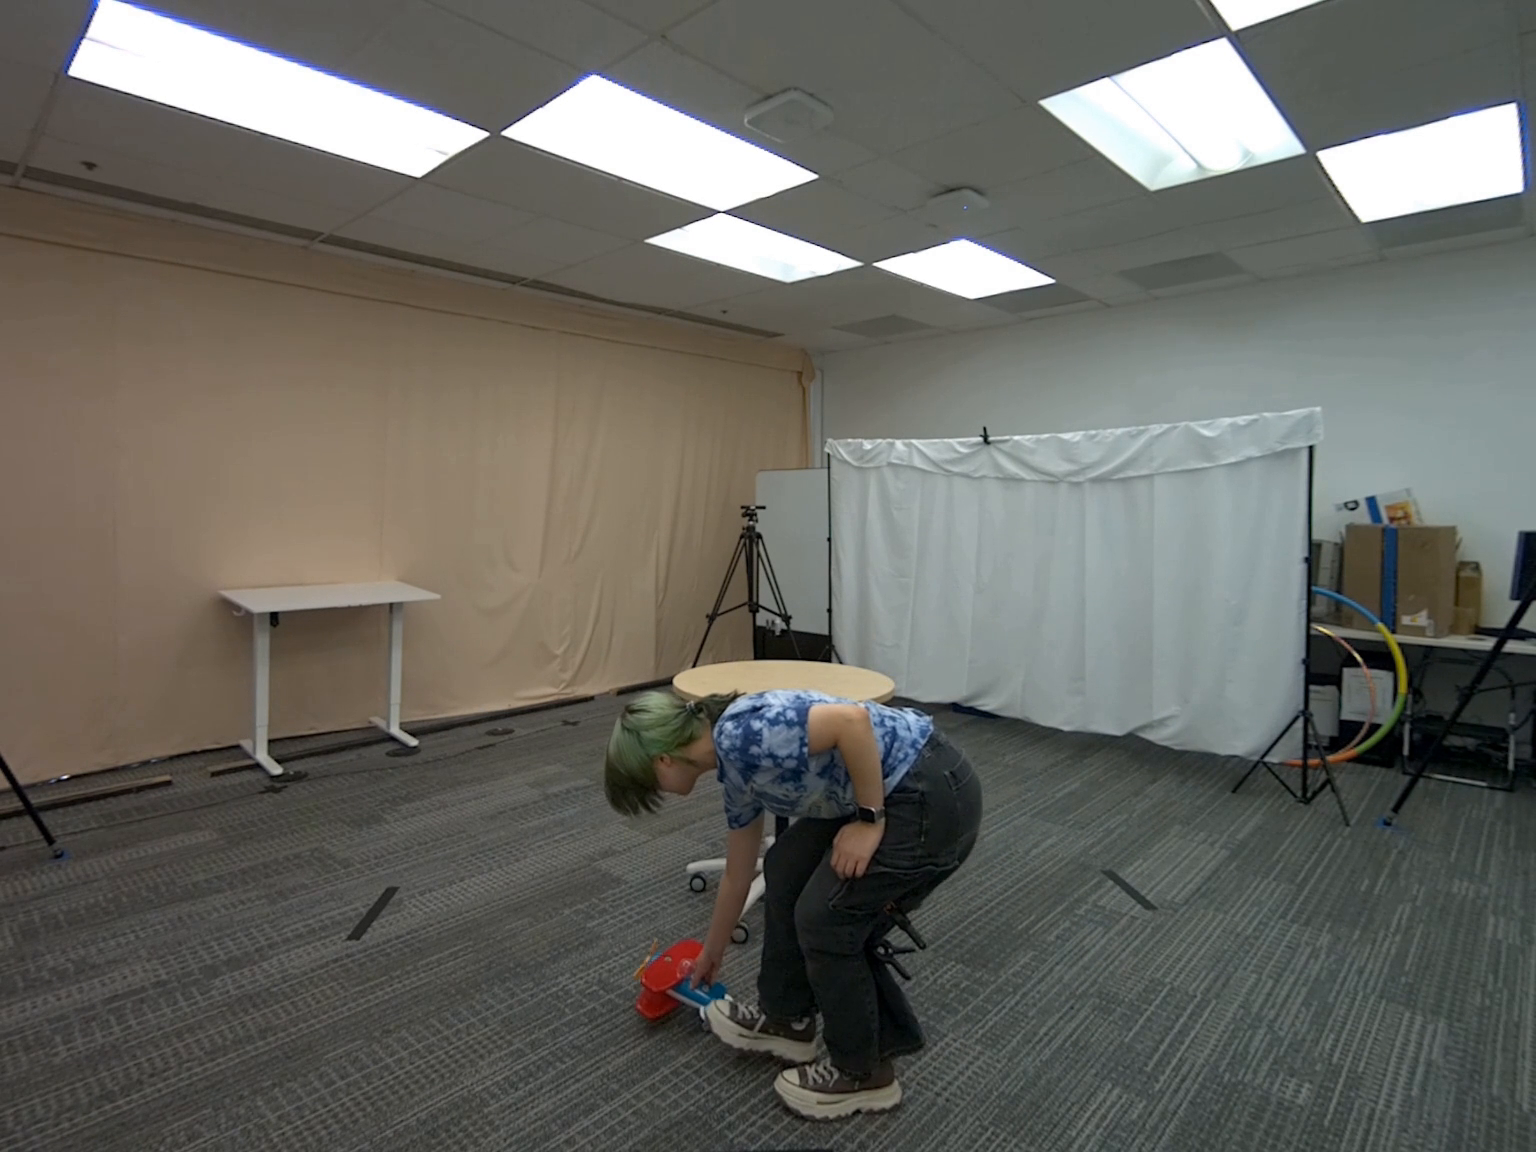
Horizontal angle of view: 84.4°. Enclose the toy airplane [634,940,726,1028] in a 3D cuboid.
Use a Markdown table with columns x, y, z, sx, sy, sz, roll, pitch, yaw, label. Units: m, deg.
| x | y | z | sx | sy | sz | roll | pitch | yaw | label |
| --- | --- | --- | --- | --- | --- | --- | --- | --- | --- |
| -0.222 | 1.129 | 2.311 | 0.259 | 0.156 | 0.252 | -2 | 7 | -1 | toy airplane |
